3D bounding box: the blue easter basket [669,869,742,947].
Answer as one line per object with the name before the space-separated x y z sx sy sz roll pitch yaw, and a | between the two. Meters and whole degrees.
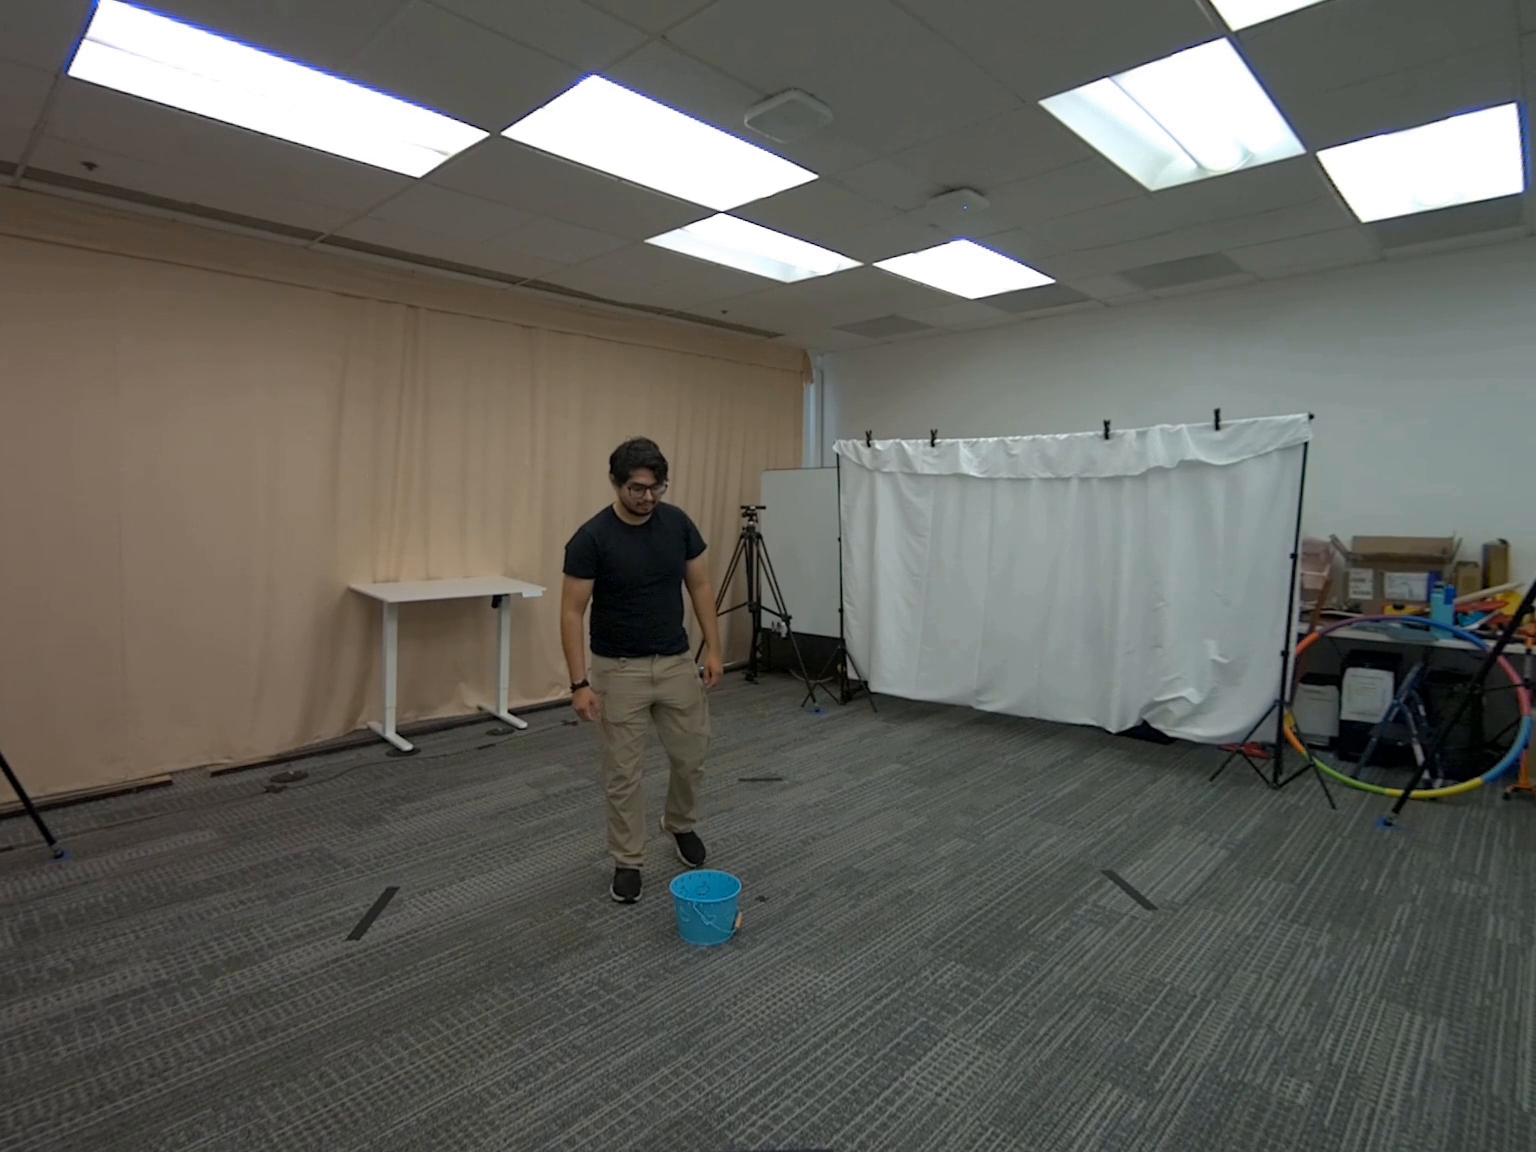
blue easter basket | -0.198 1.084 2.755 0.243 0.155 0.244 1 3 -2
